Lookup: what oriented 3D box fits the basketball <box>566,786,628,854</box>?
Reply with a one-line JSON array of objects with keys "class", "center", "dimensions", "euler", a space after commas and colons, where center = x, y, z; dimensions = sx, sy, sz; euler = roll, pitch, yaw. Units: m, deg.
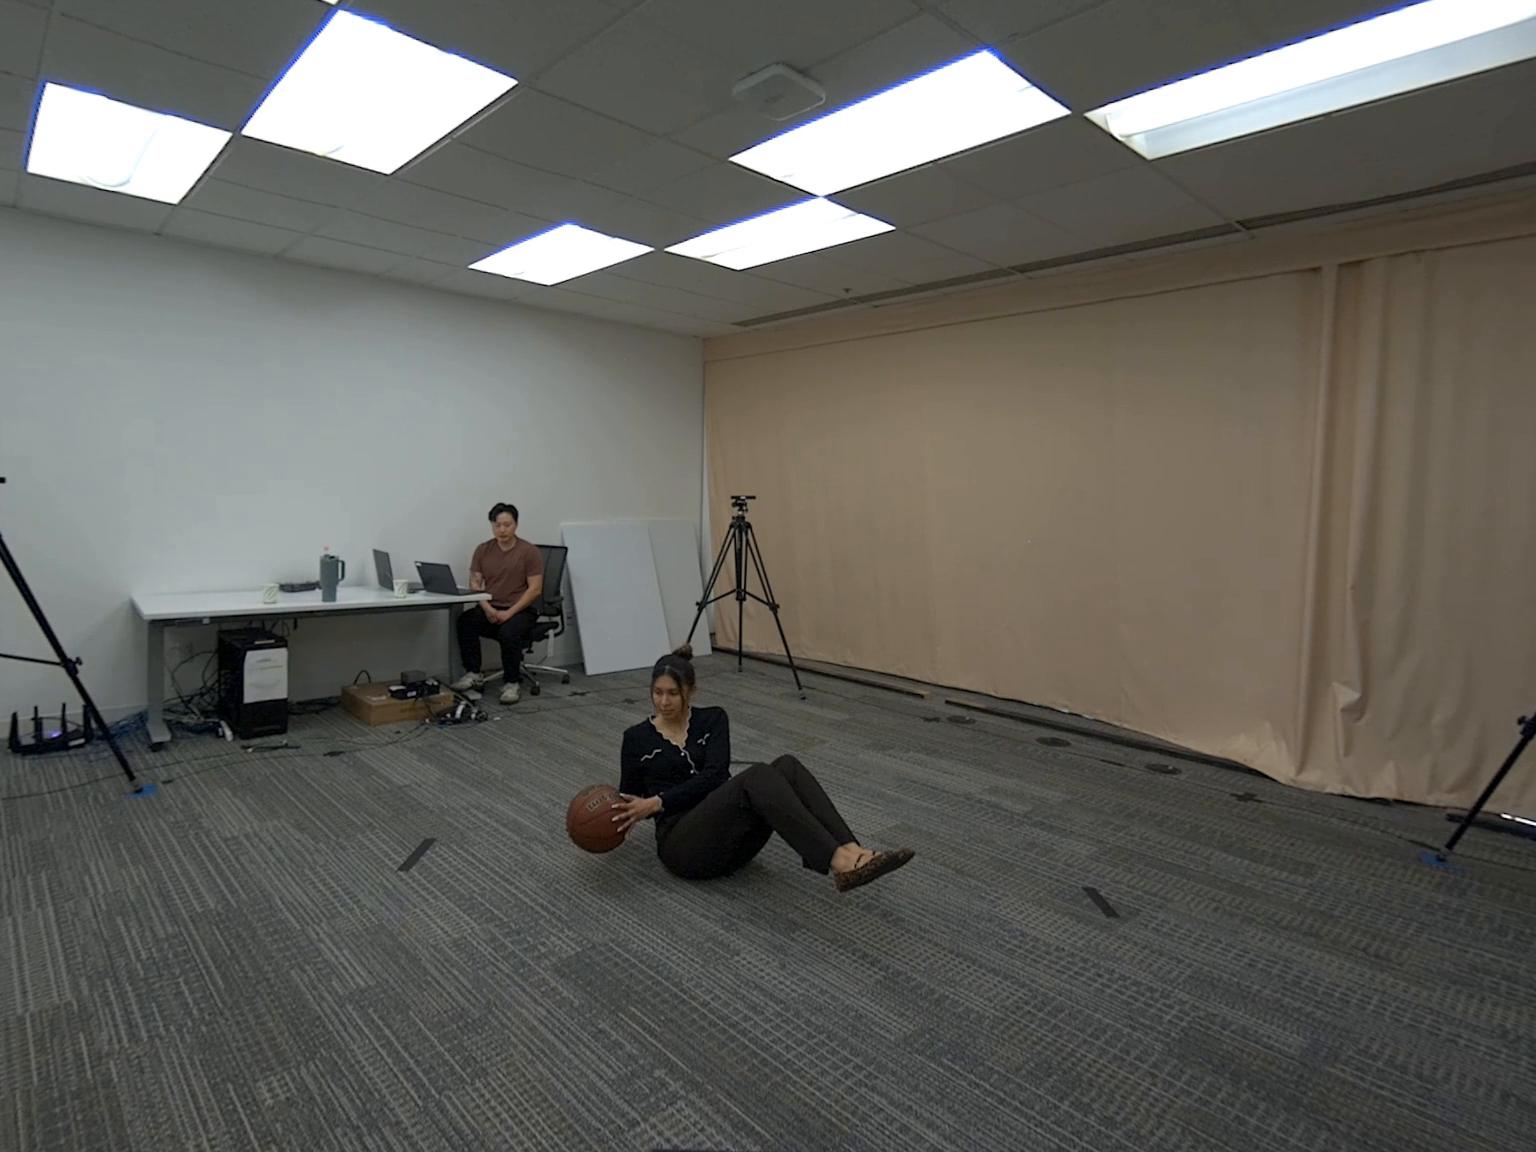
[{"class": "basketball", "center": [-0.612, 0.866, 3.024], "dimensions": [0.236, 0.235, 0.237], "euler": [1, 4, -1]}]
